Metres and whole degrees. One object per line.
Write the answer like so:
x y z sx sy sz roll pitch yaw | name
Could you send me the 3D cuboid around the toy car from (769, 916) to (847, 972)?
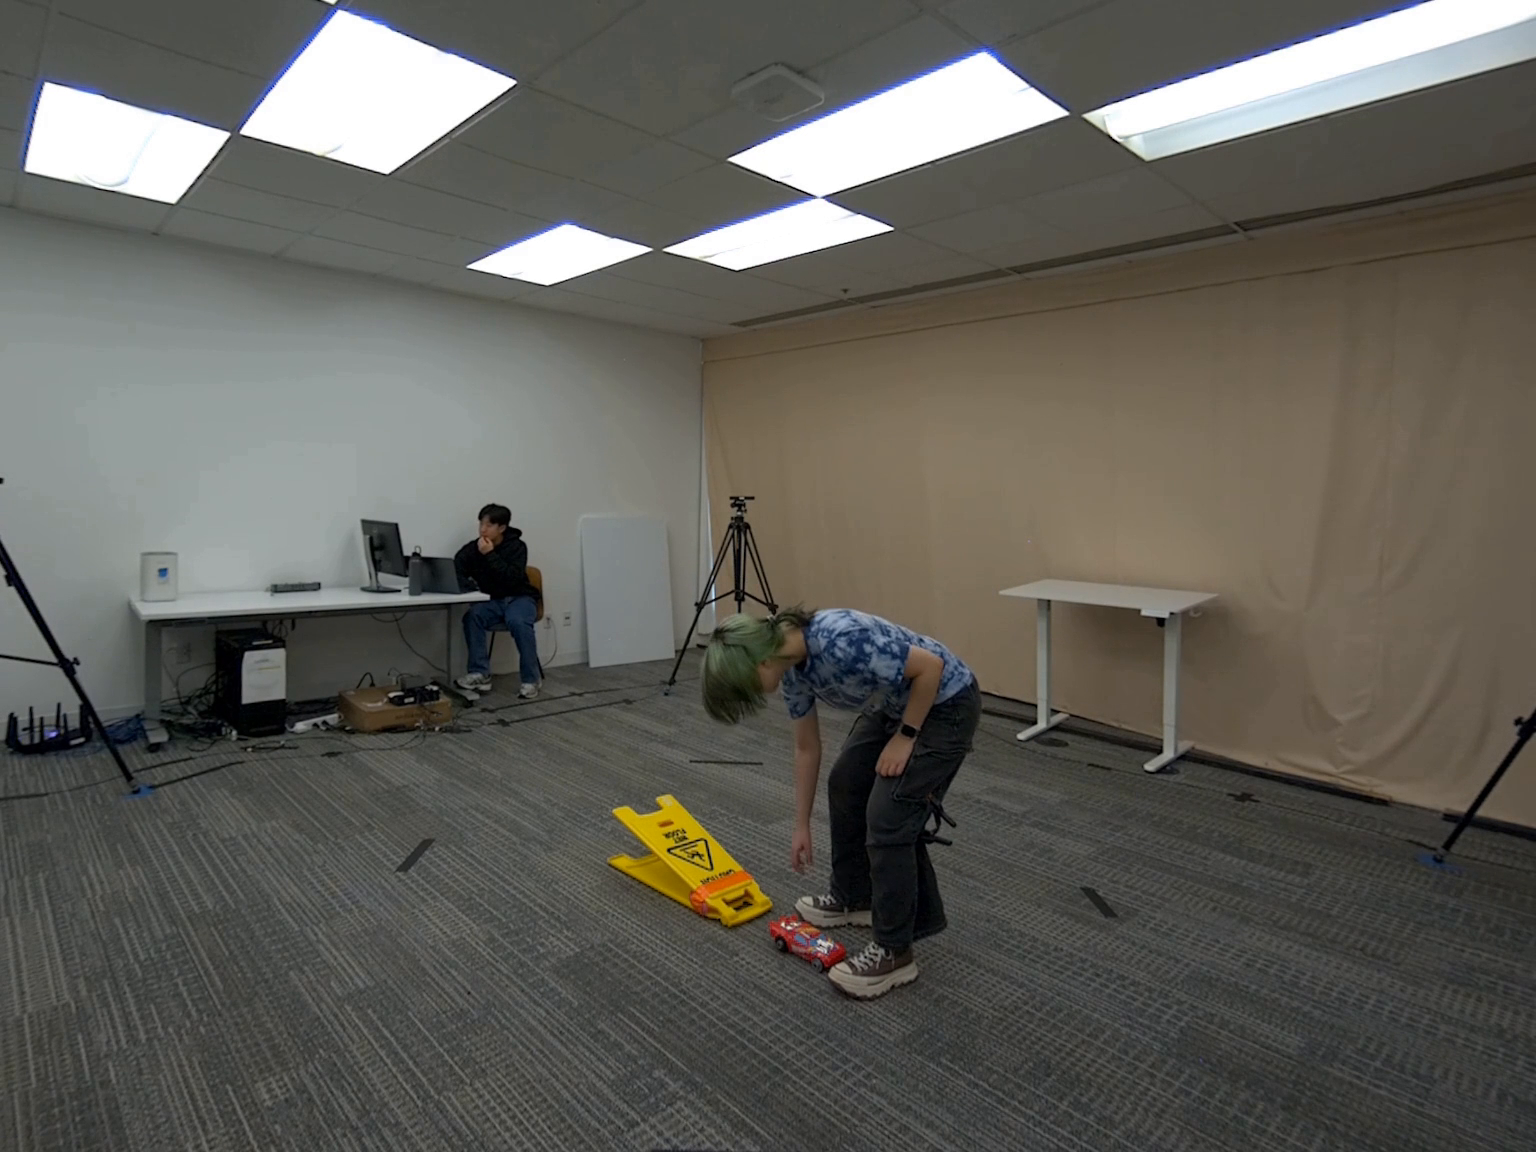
0.112 1.127 2.580 0.127 0.082 0.262 -4 19 -44 | toy car
